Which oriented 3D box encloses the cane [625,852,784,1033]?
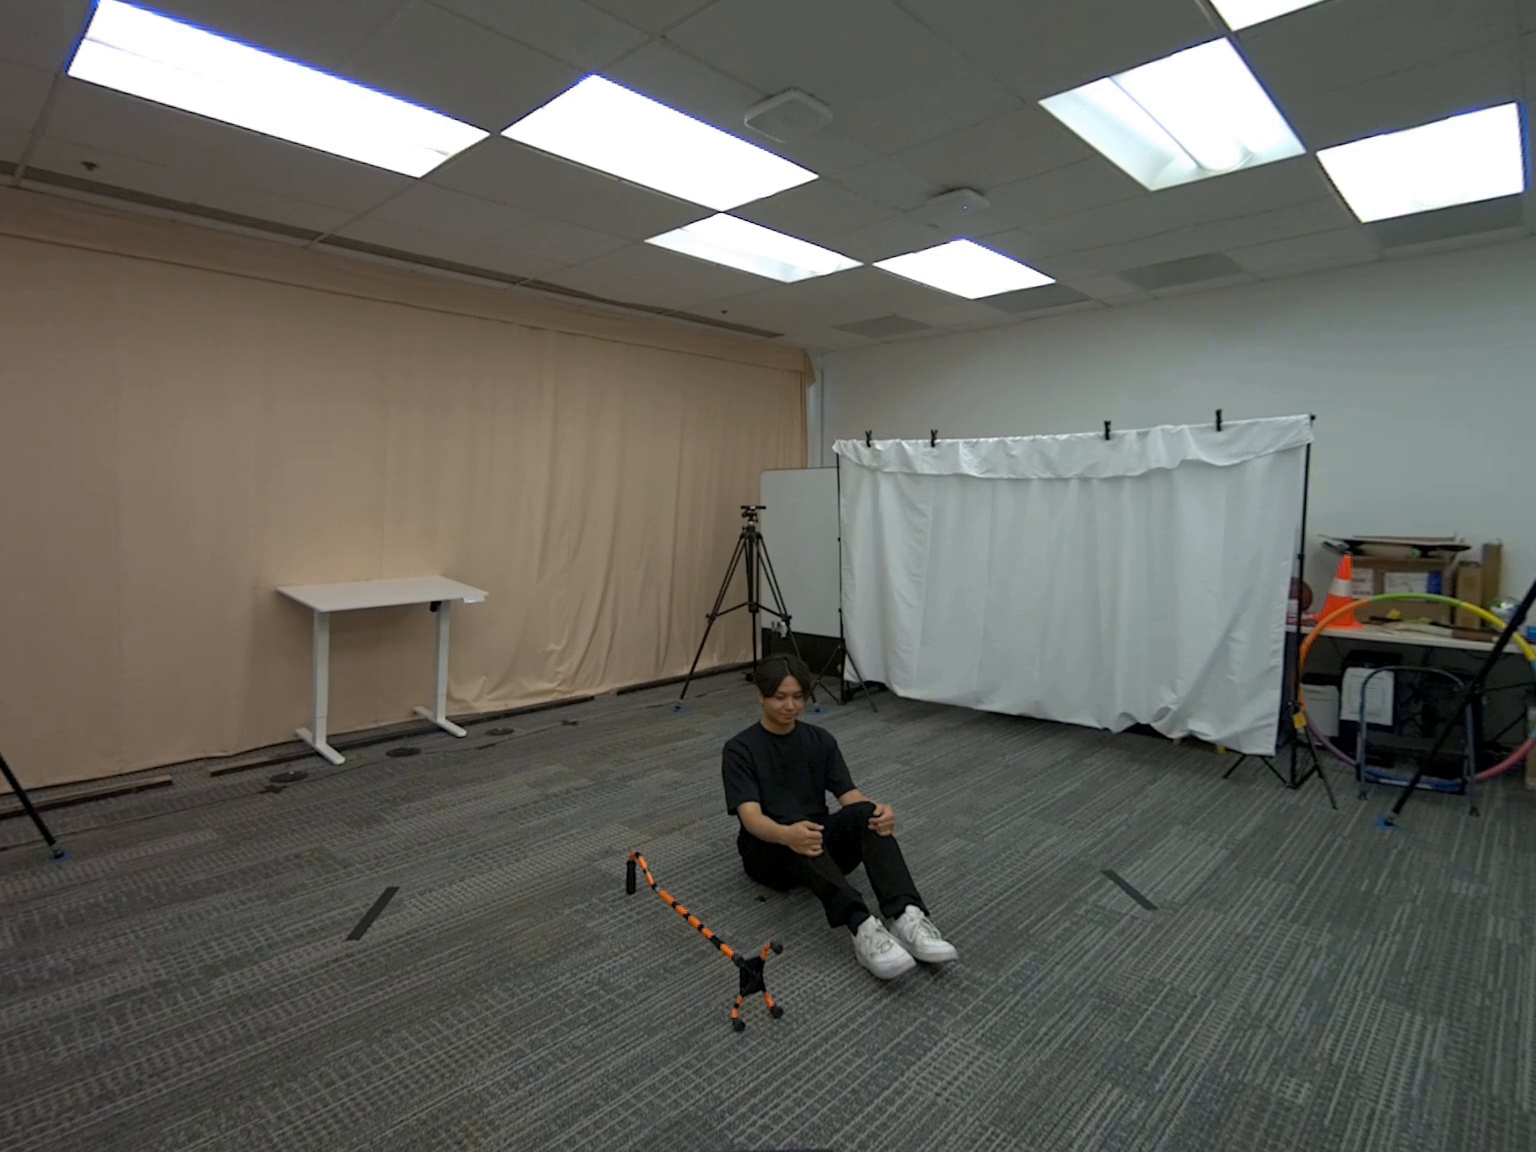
[{"bbox_3d":[-0.264,1.065,2.650,0.147,0.206,0.935,-4,6,-30],"label":"cane"}]
